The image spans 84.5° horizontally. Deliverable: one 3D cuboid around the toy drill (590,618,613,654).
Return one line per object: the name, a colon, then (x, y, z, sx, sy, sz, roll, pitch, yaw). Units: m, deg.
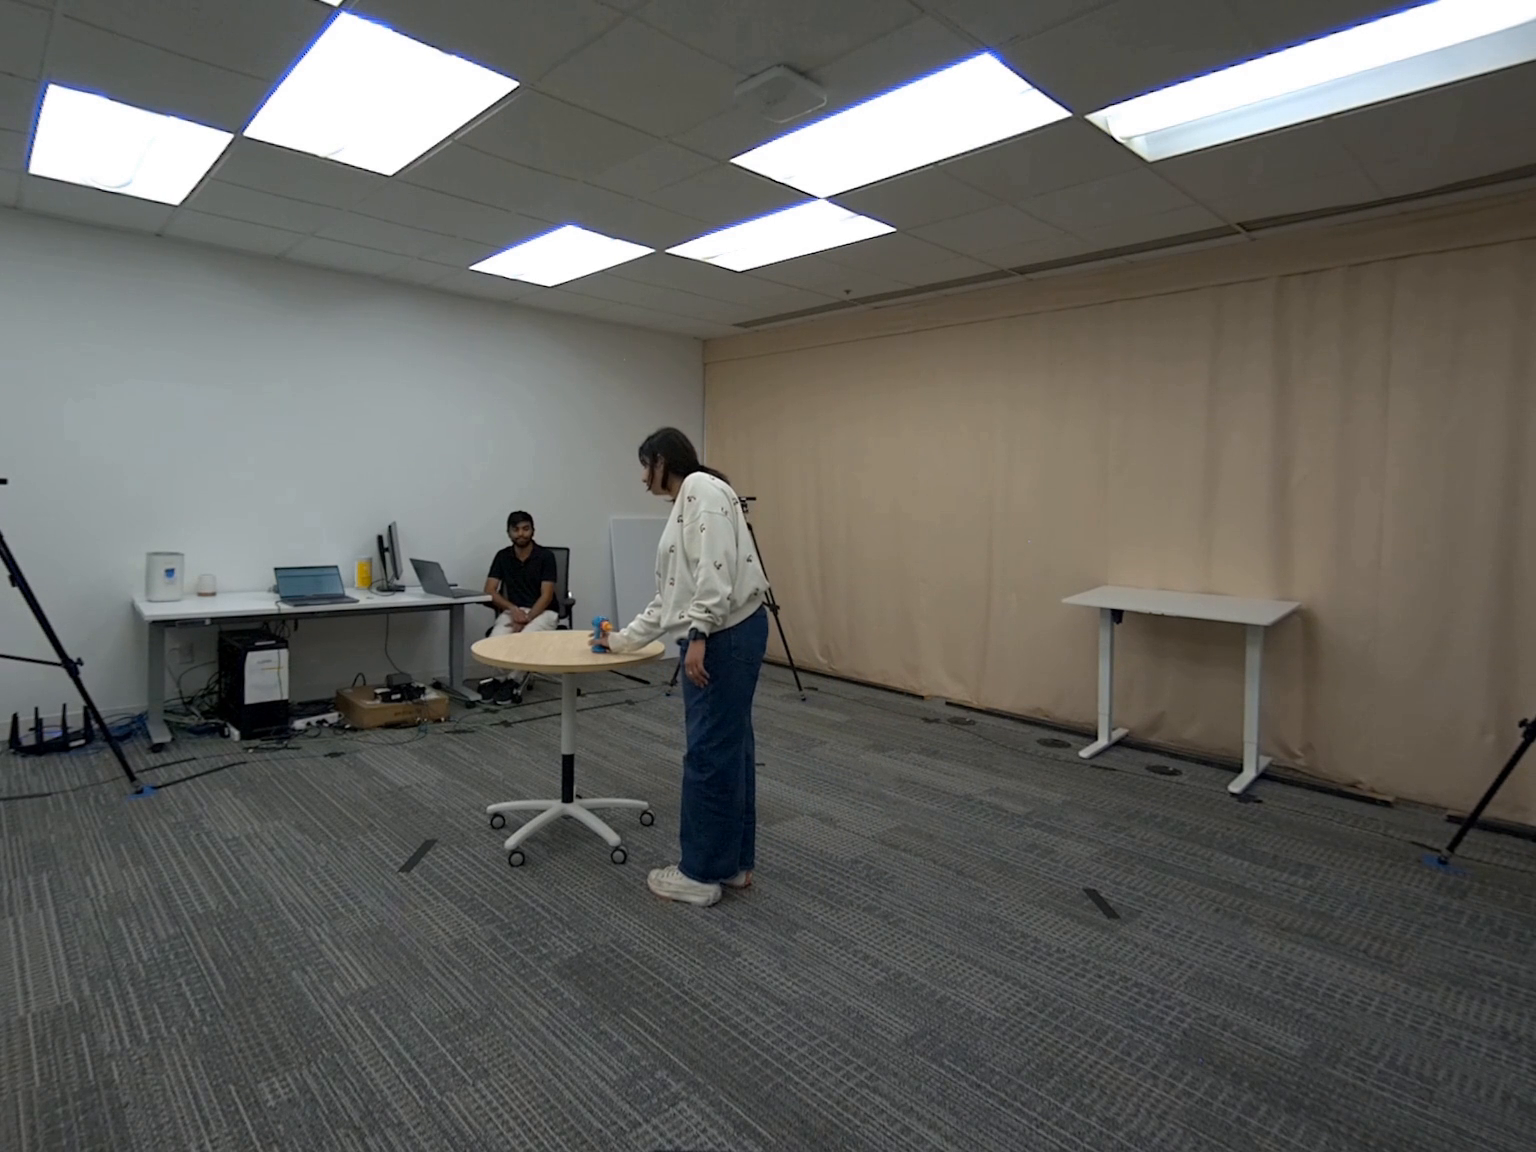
toy drill: (-0.643, 0.227, 3.253, 0.060, 0.145, 0.174, 1, 5, -37)
